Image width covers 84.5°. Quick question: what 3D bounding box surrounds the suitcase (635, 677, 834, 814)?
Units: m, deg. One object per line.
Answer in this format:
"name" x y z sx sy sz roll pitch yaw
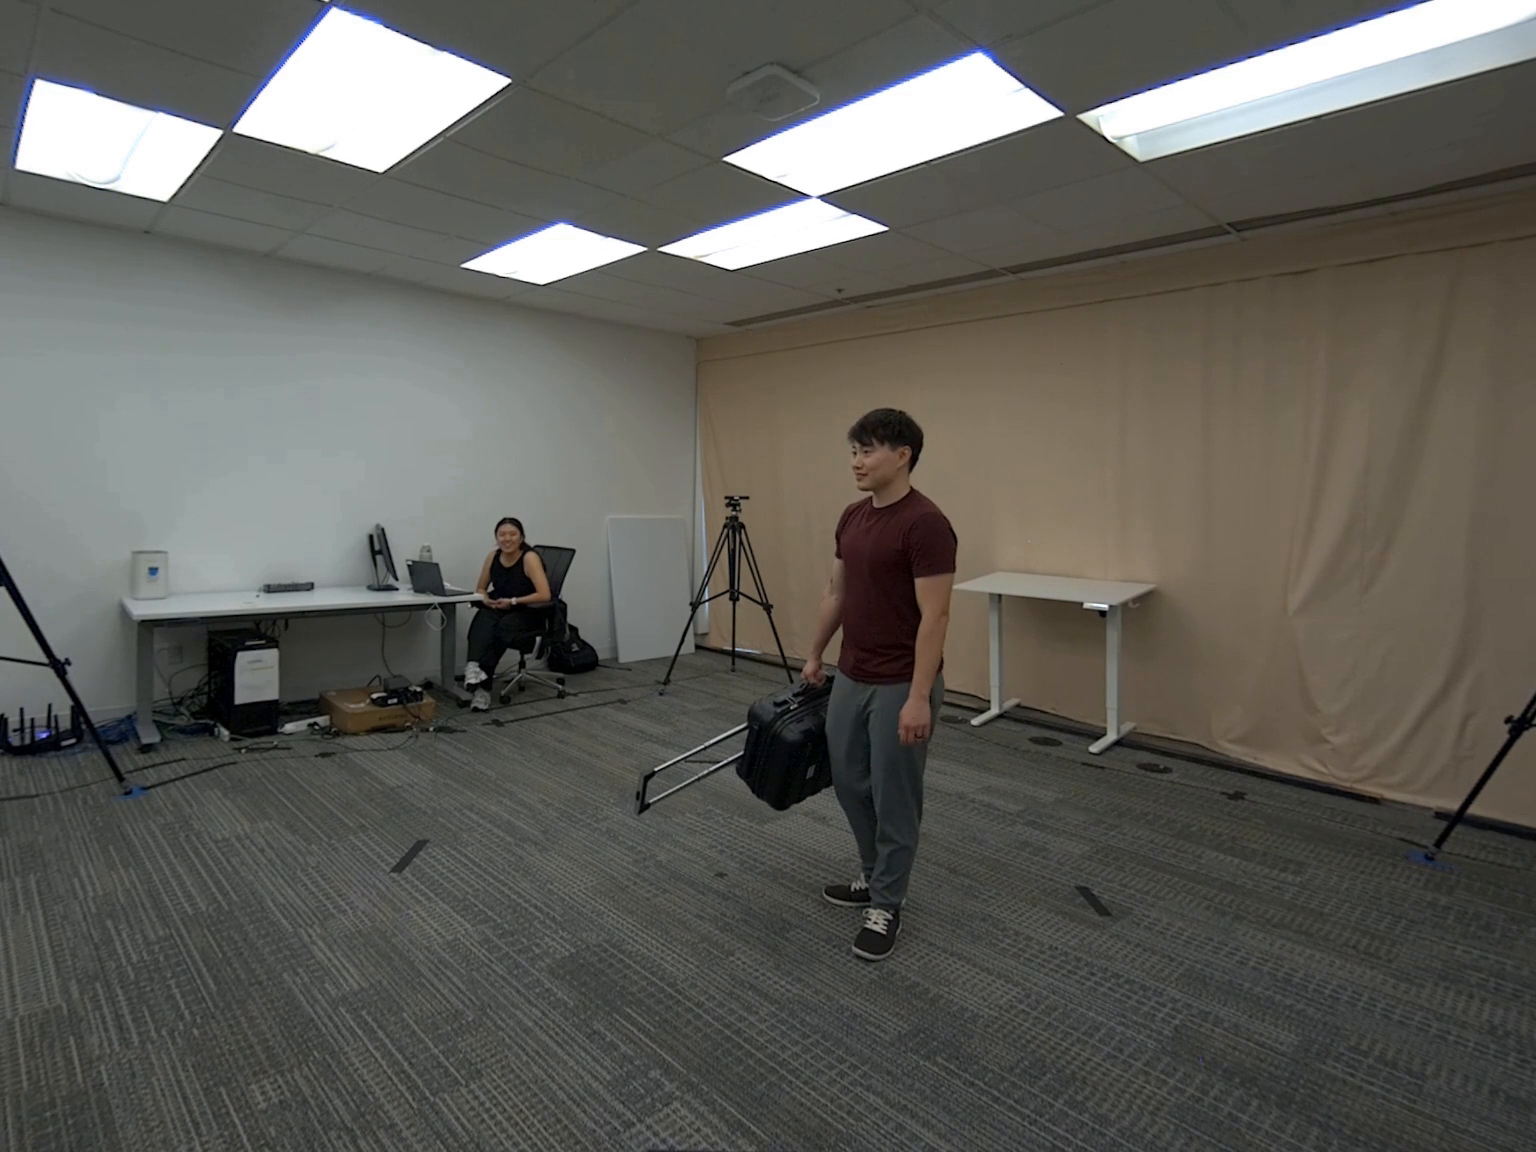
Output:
"suitcase" 0.011 0.613 2.866 0.265 0.379 0.962 29 31 34
